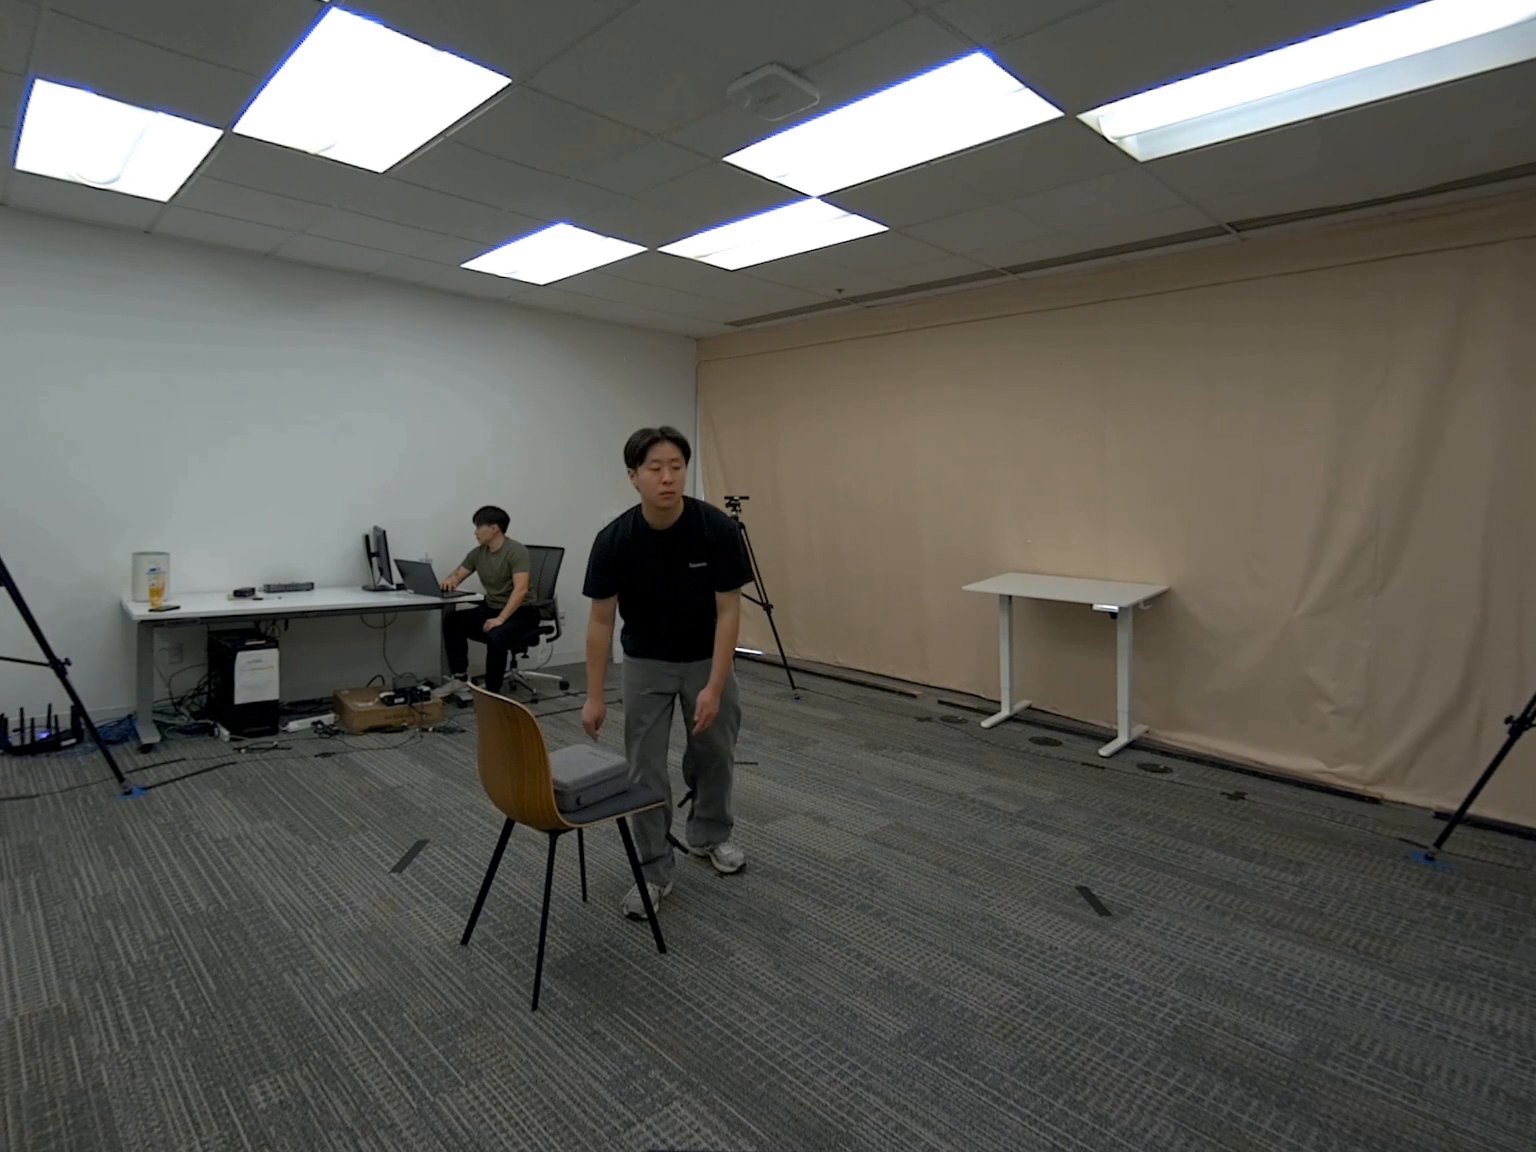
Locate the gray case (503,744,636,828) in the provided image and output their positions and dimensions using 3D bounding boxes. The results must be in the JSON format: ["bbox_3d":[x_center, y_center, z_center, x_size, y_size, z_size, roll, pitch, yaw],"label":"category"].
[{"bbox_3d":[-0.598,0.620,2.544,0.270,0.102,0.281,6,11,42],"label":"gray case"}]
